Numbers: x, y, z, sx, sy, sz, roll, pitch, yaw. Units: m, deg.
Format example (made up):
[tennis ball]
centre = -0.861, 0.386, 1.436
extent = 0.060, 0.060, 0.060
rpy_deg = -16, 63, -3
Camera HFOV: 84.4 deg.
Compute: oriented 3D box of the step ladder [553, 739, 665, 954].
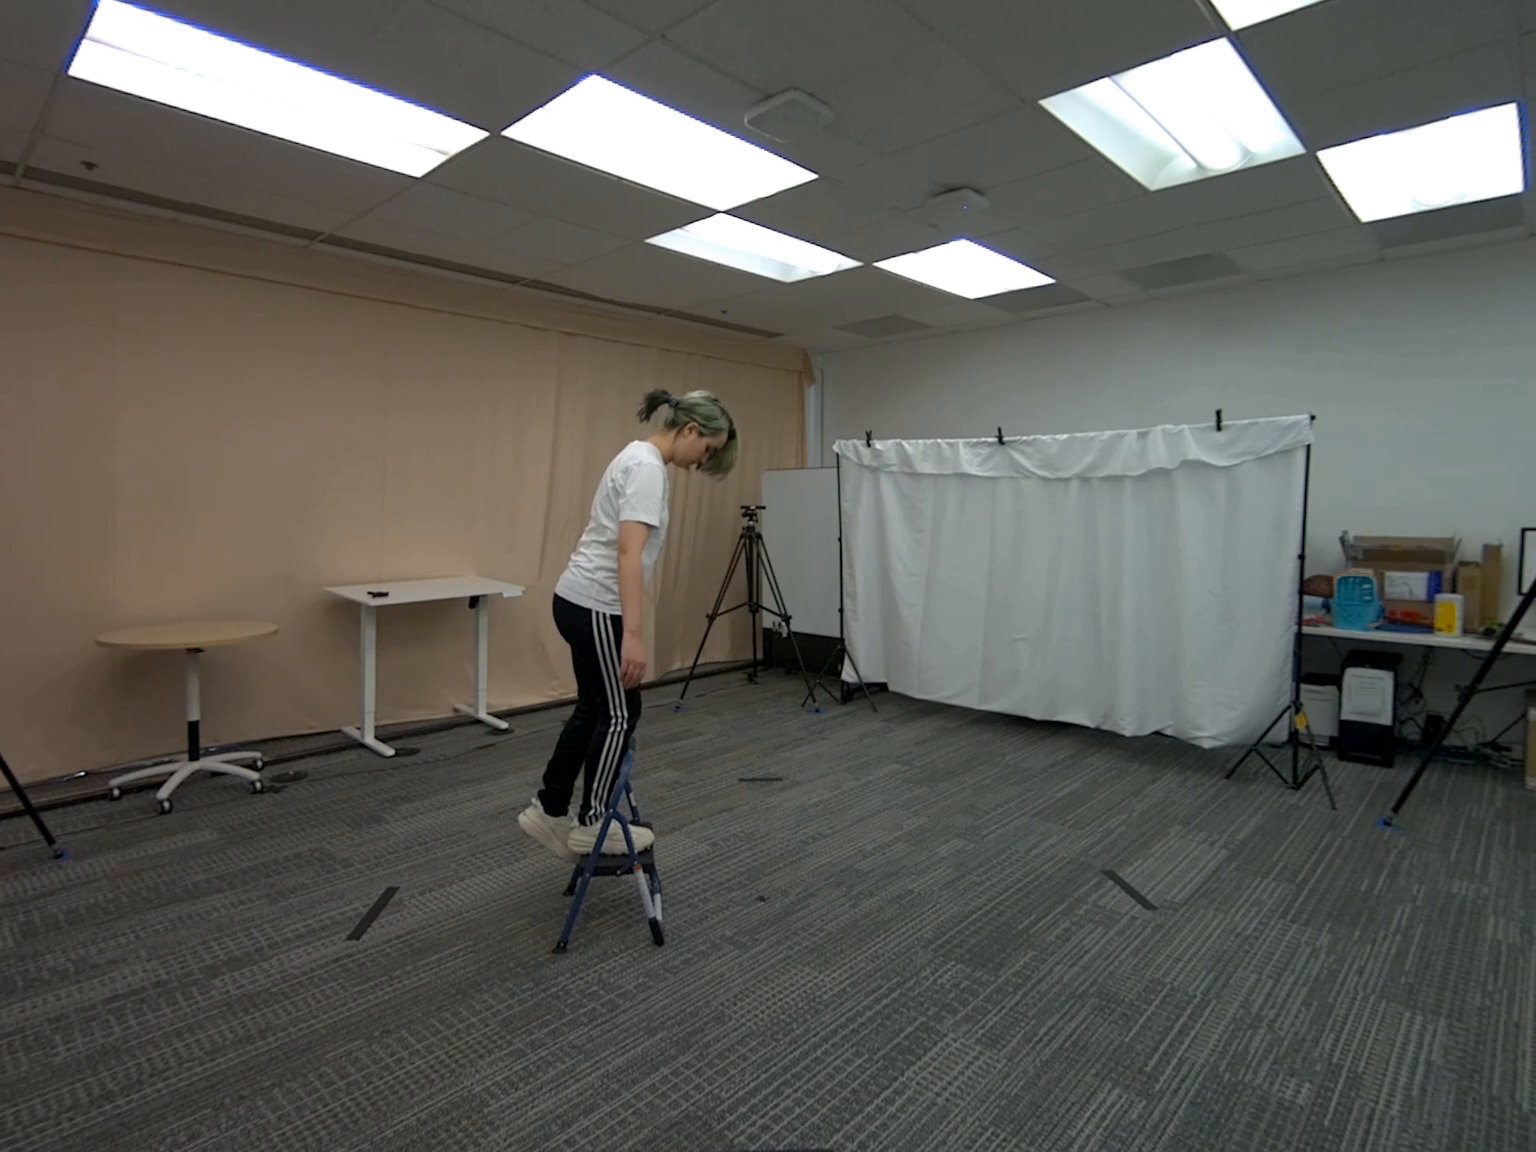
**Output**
[step ladder]
centre = -0.532, 0.864, 2.837
extent = 0.347, 0.605, 0.434
rpy_deg = -1, 3, -8
